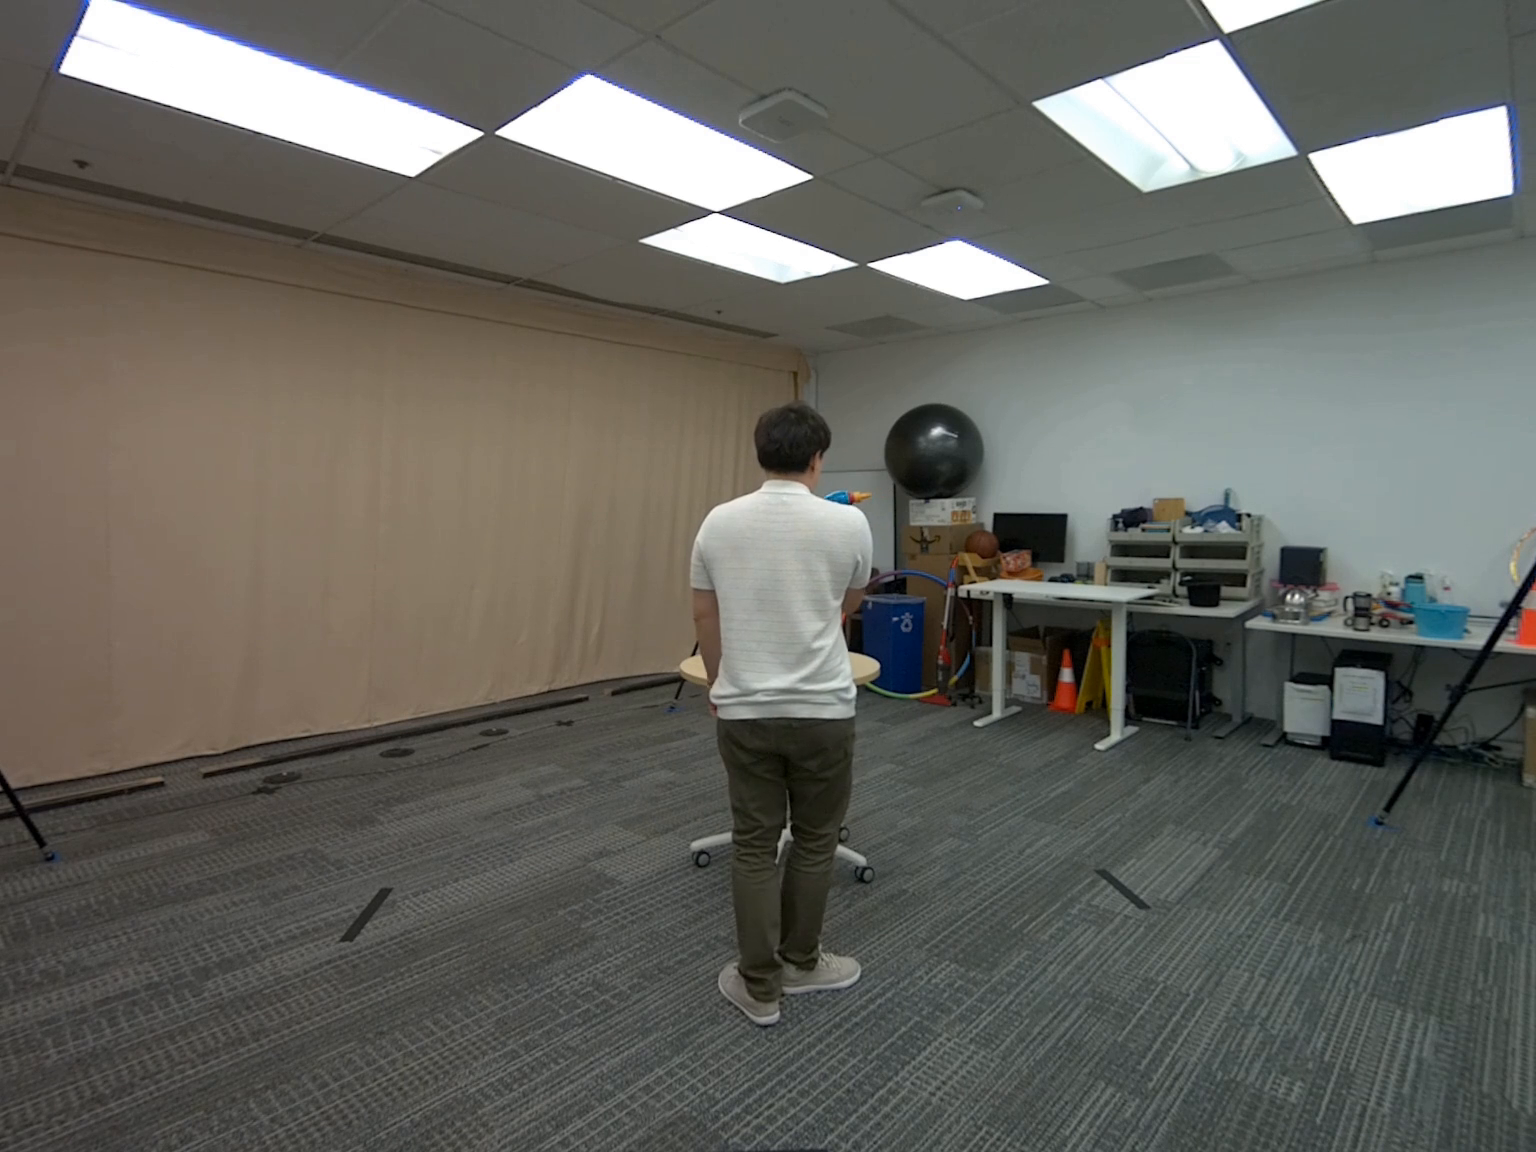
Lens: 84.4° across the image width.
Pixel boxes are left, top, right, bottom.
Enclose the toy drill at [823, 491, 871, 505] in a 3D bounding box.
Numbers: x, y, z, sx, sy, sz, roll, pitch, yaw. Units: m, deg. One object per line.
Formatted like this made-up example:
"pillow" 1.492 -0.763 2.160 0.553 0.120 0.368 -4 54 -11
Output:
"toy drill" 0.259 -0.206 2.686 0.170 0.146 0.061 -11 3 3
